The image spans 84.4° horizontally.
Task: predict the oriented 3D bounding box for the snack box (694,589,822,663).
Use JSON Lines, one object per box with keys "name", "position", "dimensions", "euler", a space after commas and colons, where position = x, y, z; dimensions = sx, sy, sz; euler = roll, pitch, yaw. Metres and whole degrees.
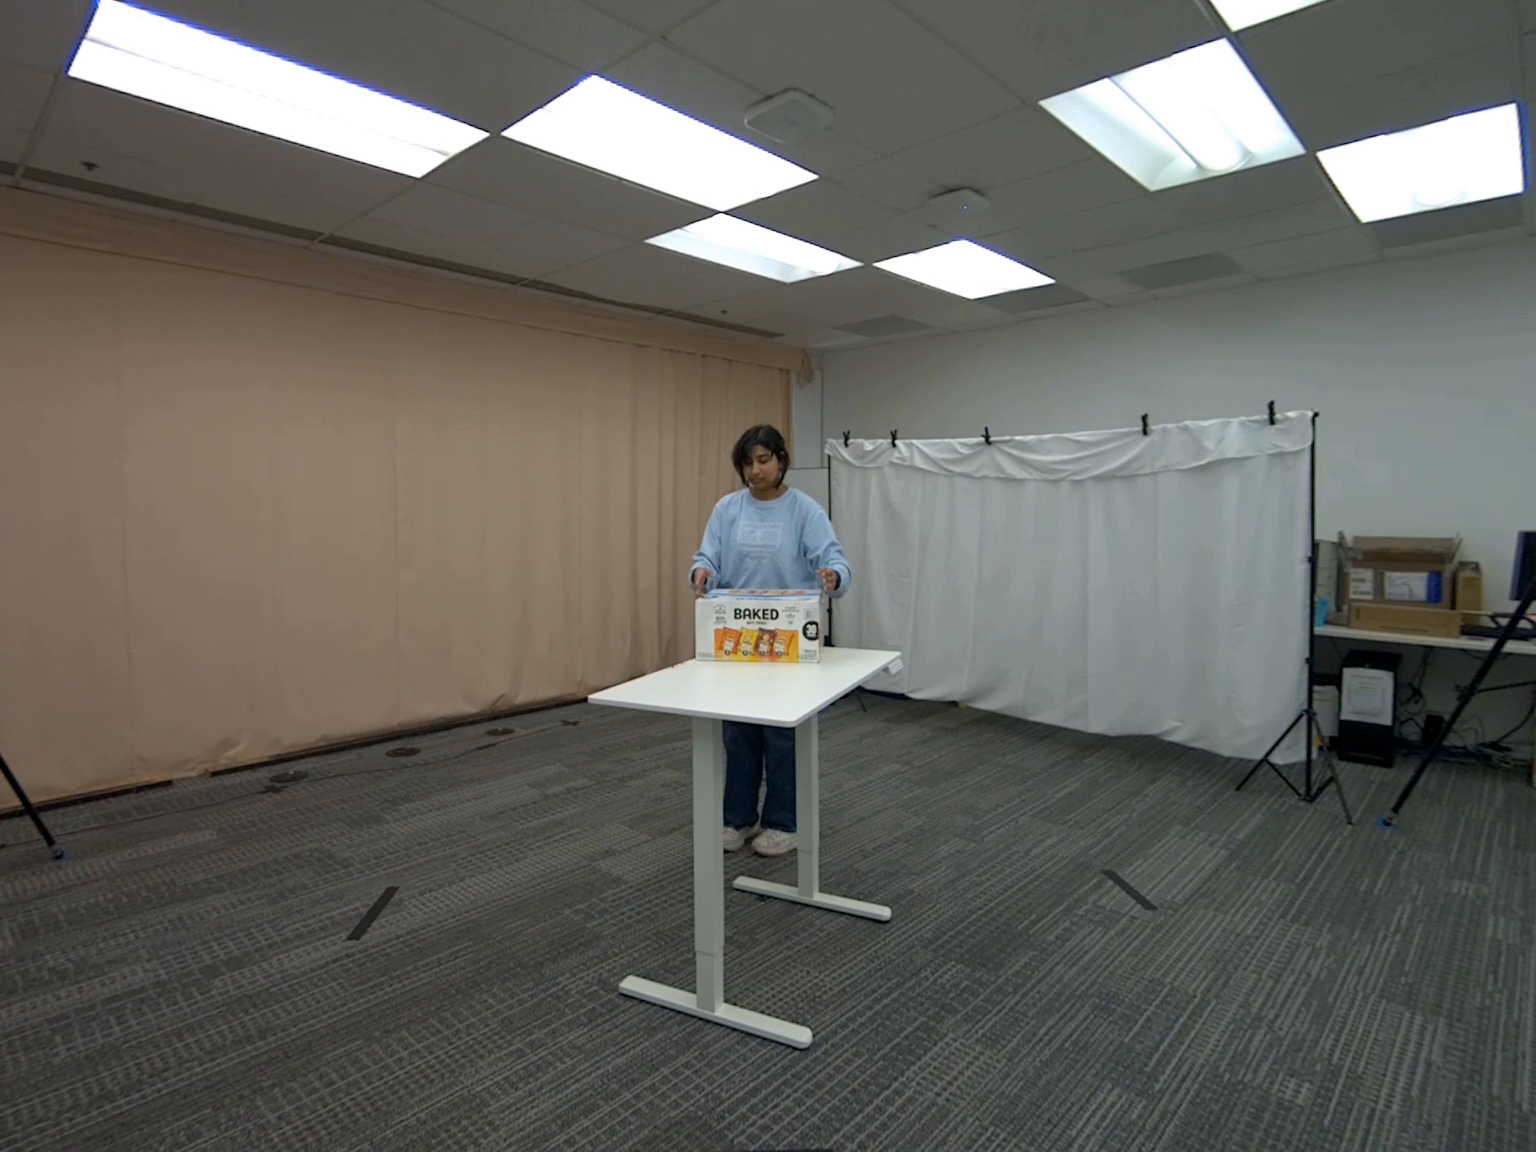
{"name": "snack box", "position": [-0.017, 0.168, 2.909], "dimensions": [0.409, 0.205, 0.337], "euler": [0, 4, 9]}
